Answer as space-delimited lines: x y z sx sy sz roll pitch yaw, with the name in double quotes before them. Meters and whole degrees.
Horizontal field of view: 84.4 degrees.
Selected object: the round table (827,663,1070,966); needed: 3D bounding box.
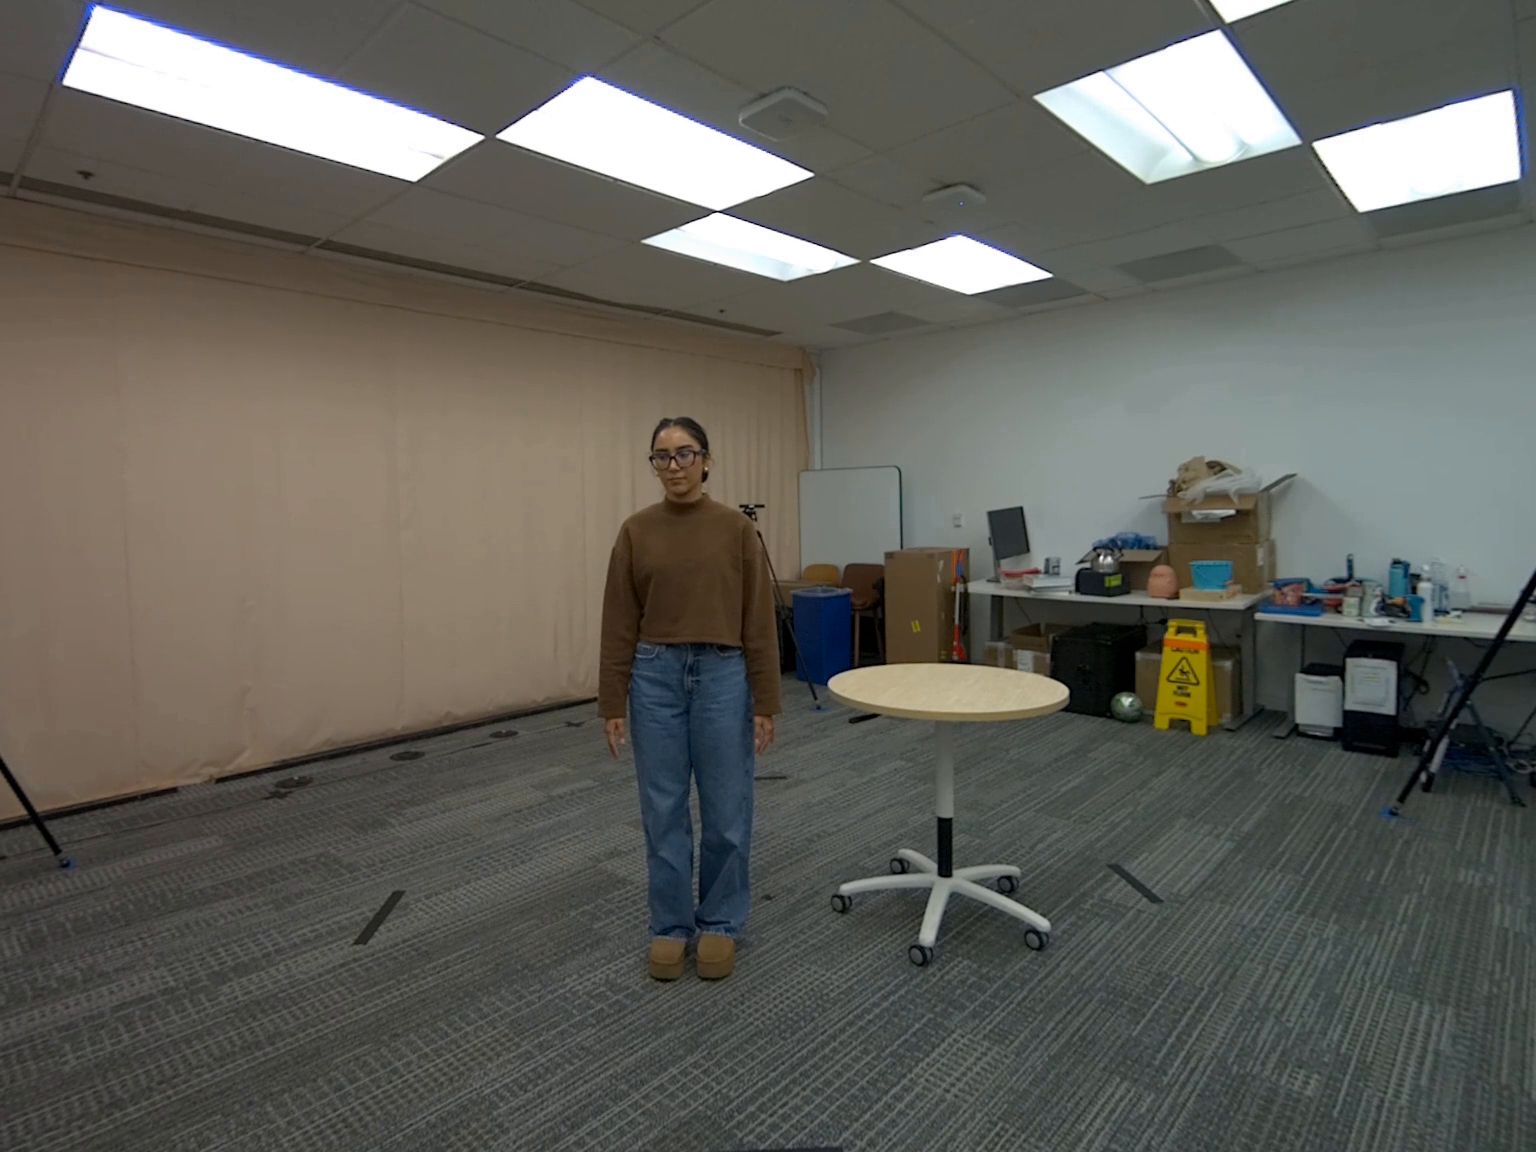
"round table" 0.608 0.753 2.814 0.784 0.785 0.788 -1 4 -2
